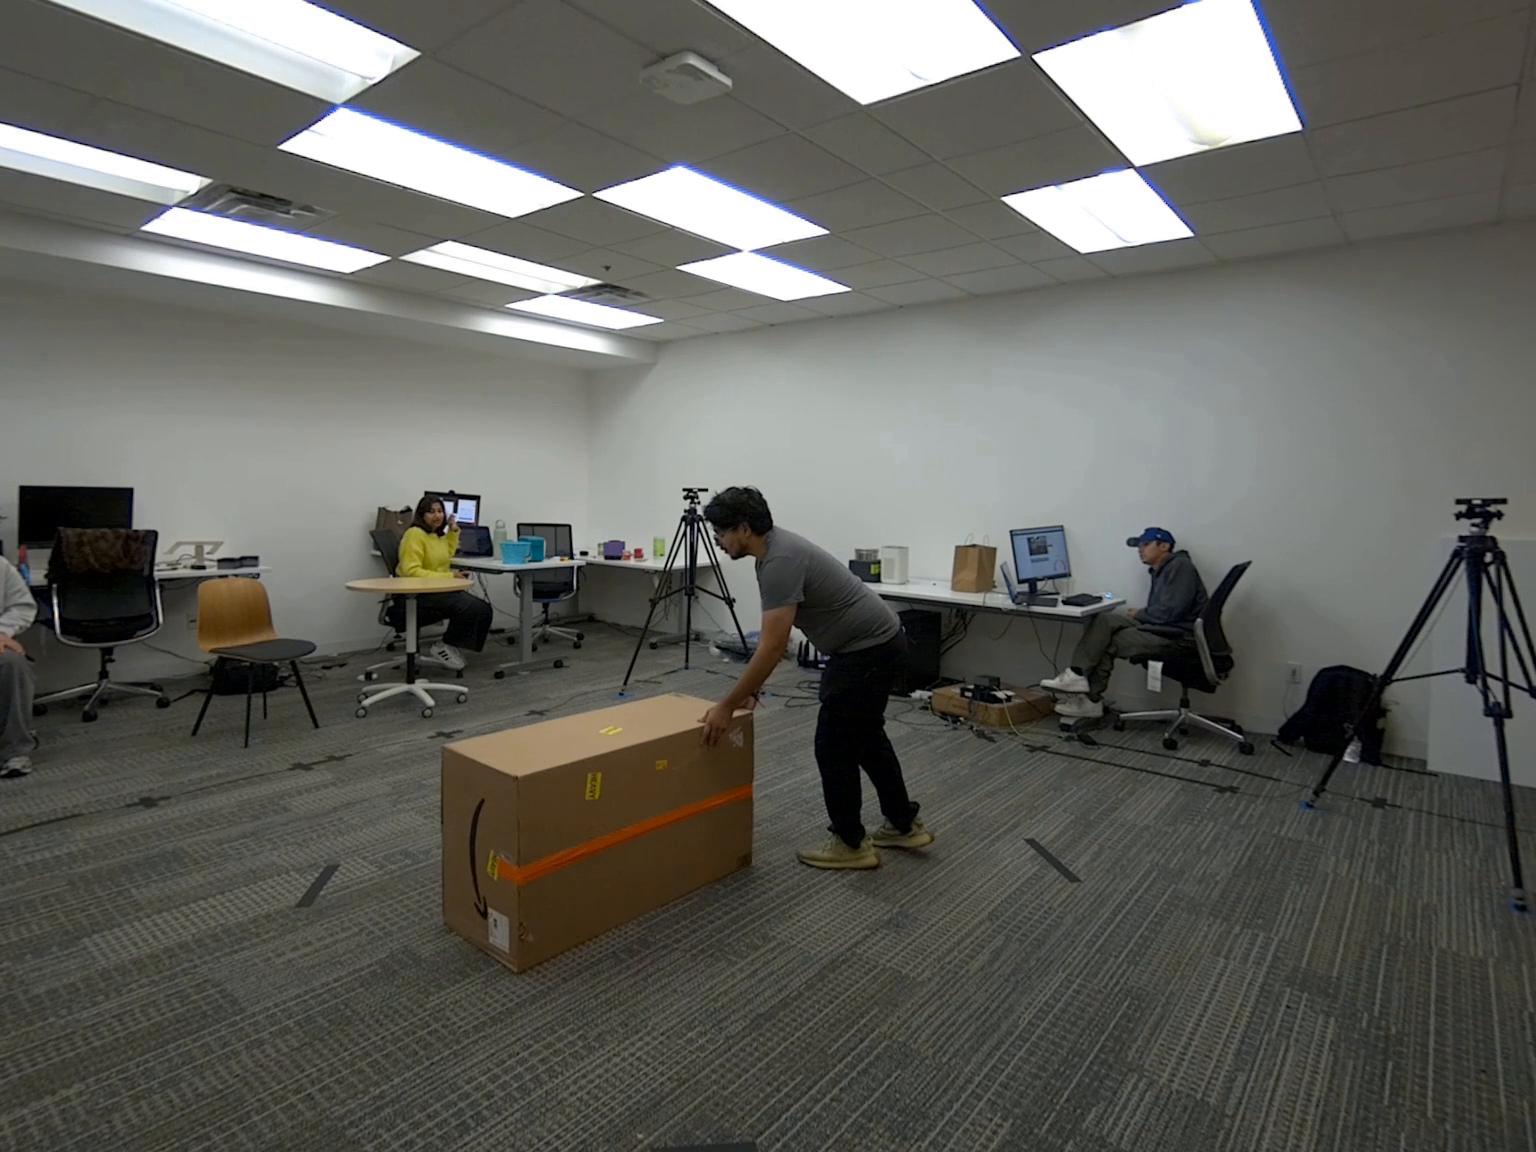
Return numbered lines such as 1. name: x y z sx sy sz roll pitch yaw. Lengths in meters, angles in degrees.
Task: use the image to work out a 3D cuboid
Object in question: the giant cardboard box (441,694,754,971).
1. giant cardboard box: -0.553 0.801 2.904 0.440 0.576 0.995 4 5 41
